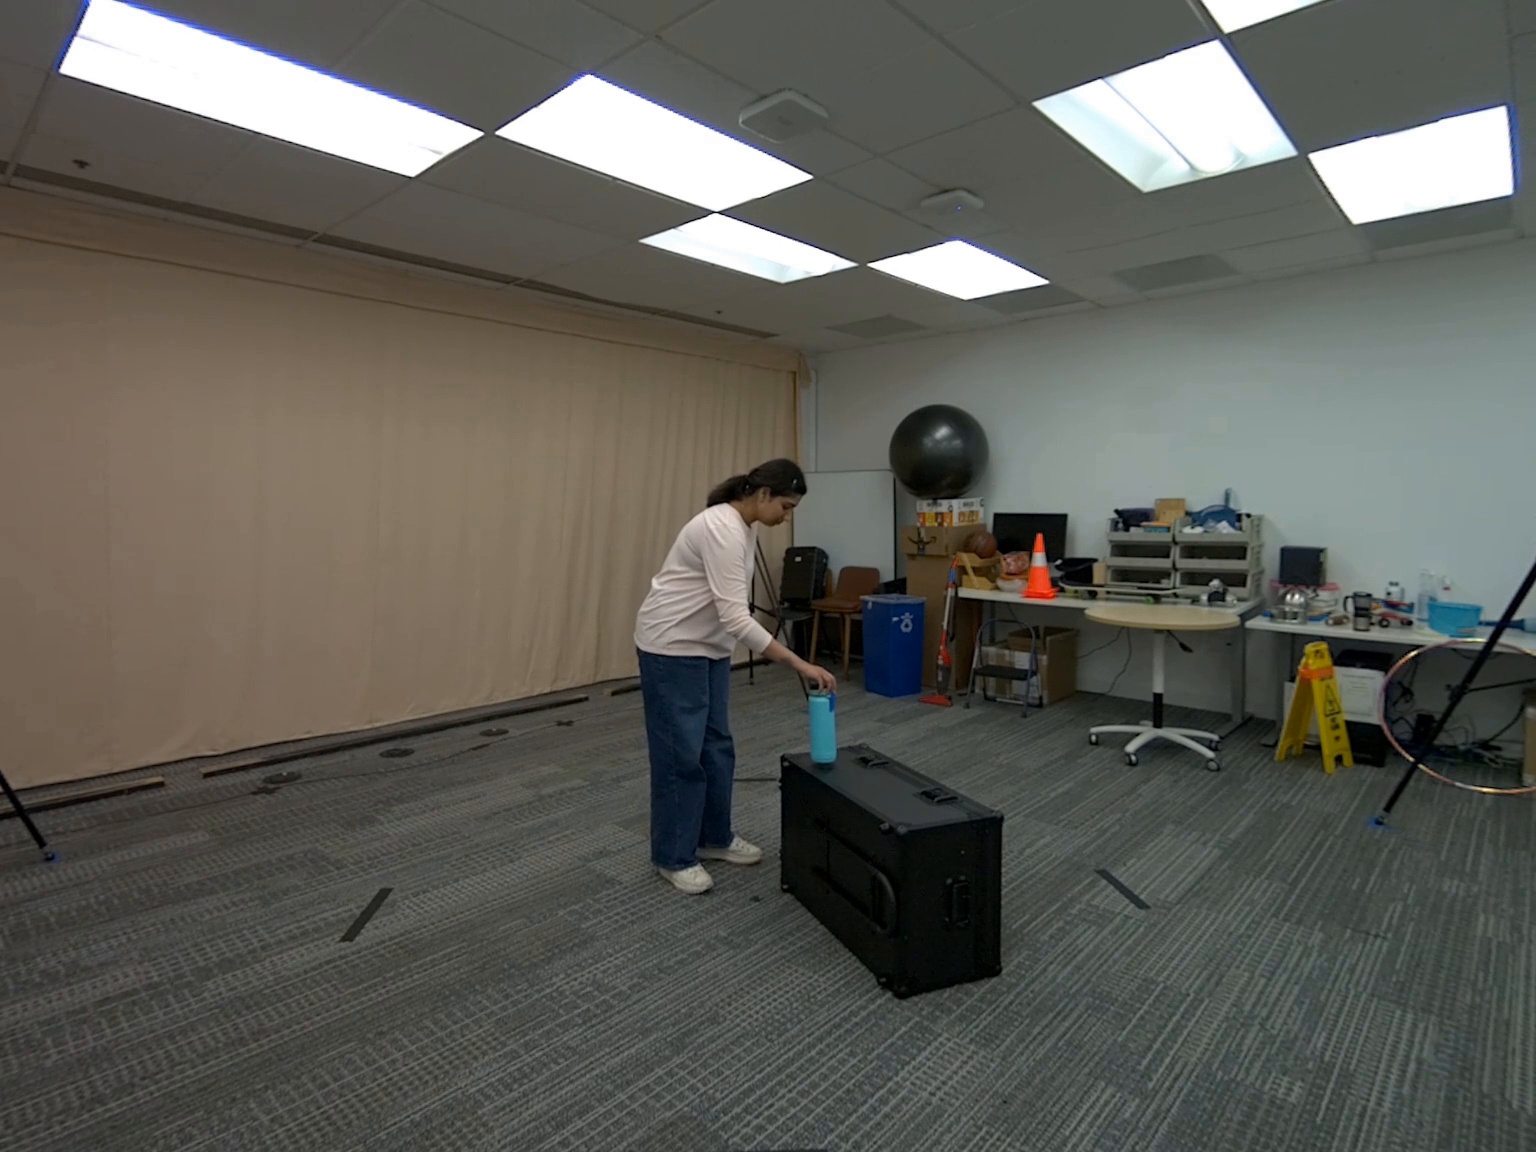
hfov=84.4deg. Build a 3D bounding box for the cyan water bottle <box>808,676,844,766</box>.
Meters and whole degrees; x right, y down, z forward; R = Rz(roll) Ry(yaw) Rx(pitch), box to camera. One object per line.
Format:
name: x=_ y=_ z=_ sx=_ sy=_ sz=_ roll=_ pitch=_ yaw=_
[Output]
cyan water bottle: x=0.199 y=0.501 z=2.943 sx=0.092 sy=0.283 sz=0.092 roll=-3 pitch=2 yaw=-2
